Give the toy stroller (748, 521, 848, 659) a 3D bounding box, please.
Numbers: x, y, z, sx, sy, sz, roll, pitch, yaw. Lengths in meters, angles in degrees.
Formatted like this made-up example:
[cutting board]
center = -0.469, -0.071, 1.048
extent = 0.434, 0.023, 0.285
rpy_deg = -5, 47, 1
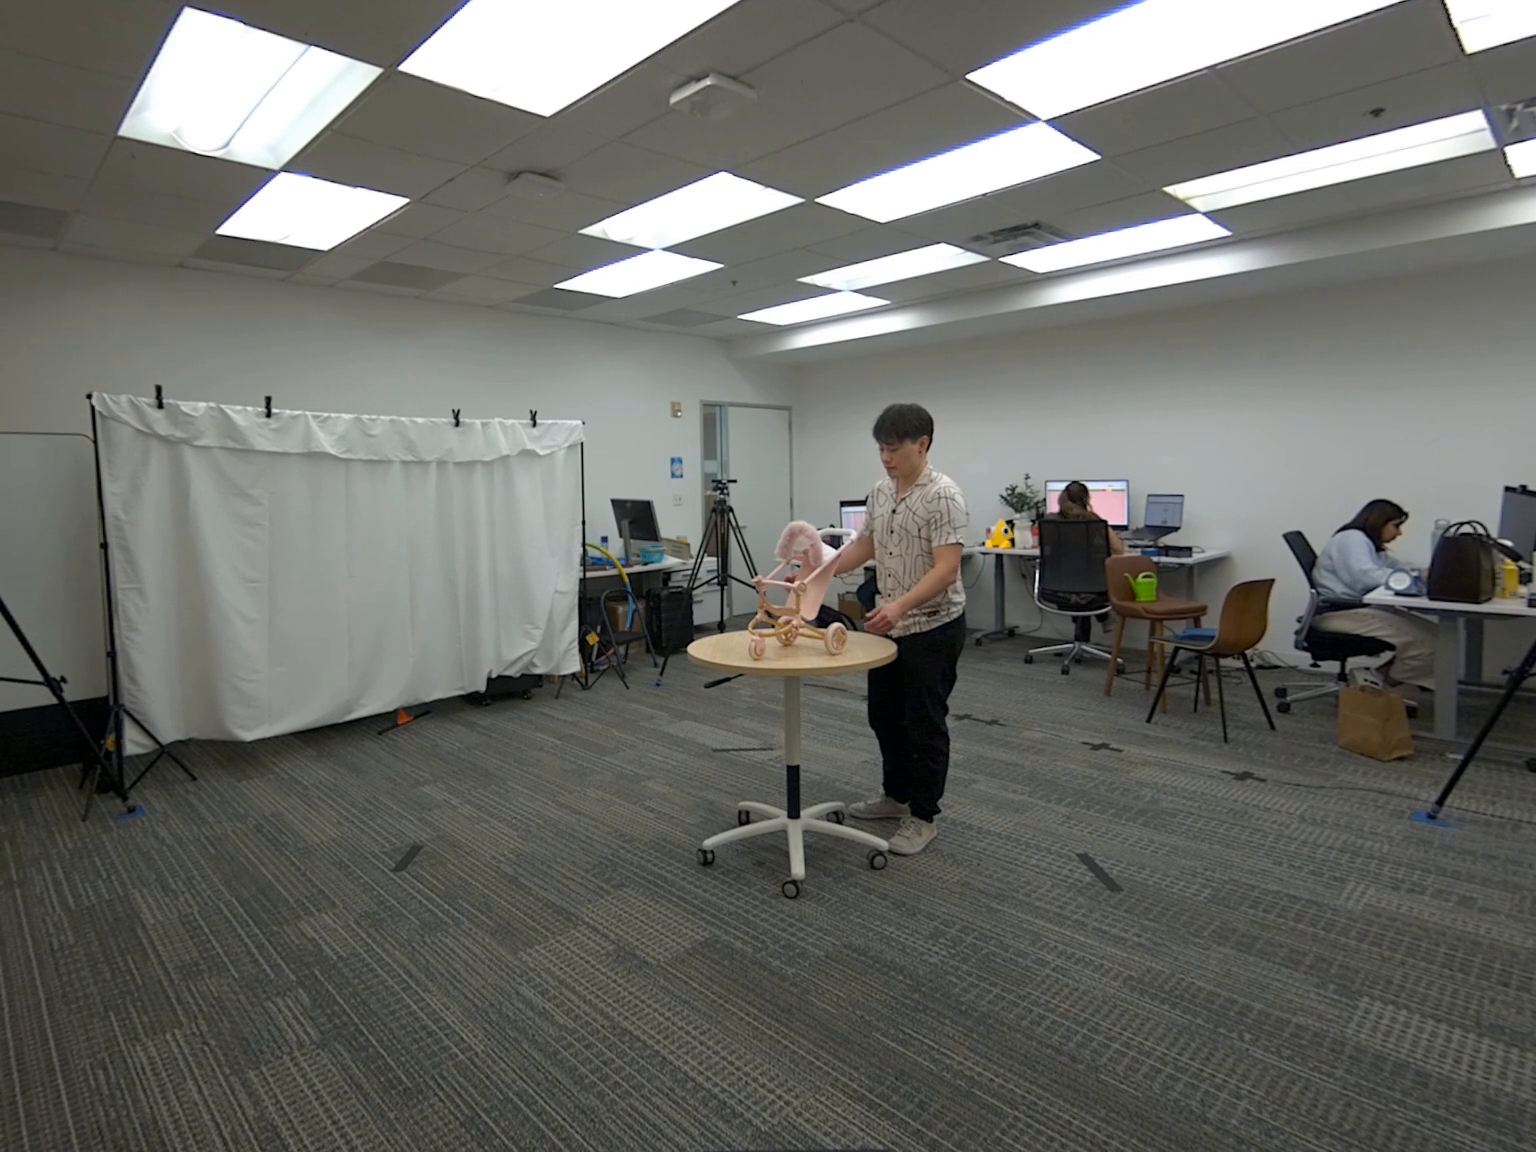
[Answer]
[toy stroller]
center = 0.107, 0.047, 3.015
extent = 0.330, 0.537, 0.290
rpy_deg = 16, -8, -36
